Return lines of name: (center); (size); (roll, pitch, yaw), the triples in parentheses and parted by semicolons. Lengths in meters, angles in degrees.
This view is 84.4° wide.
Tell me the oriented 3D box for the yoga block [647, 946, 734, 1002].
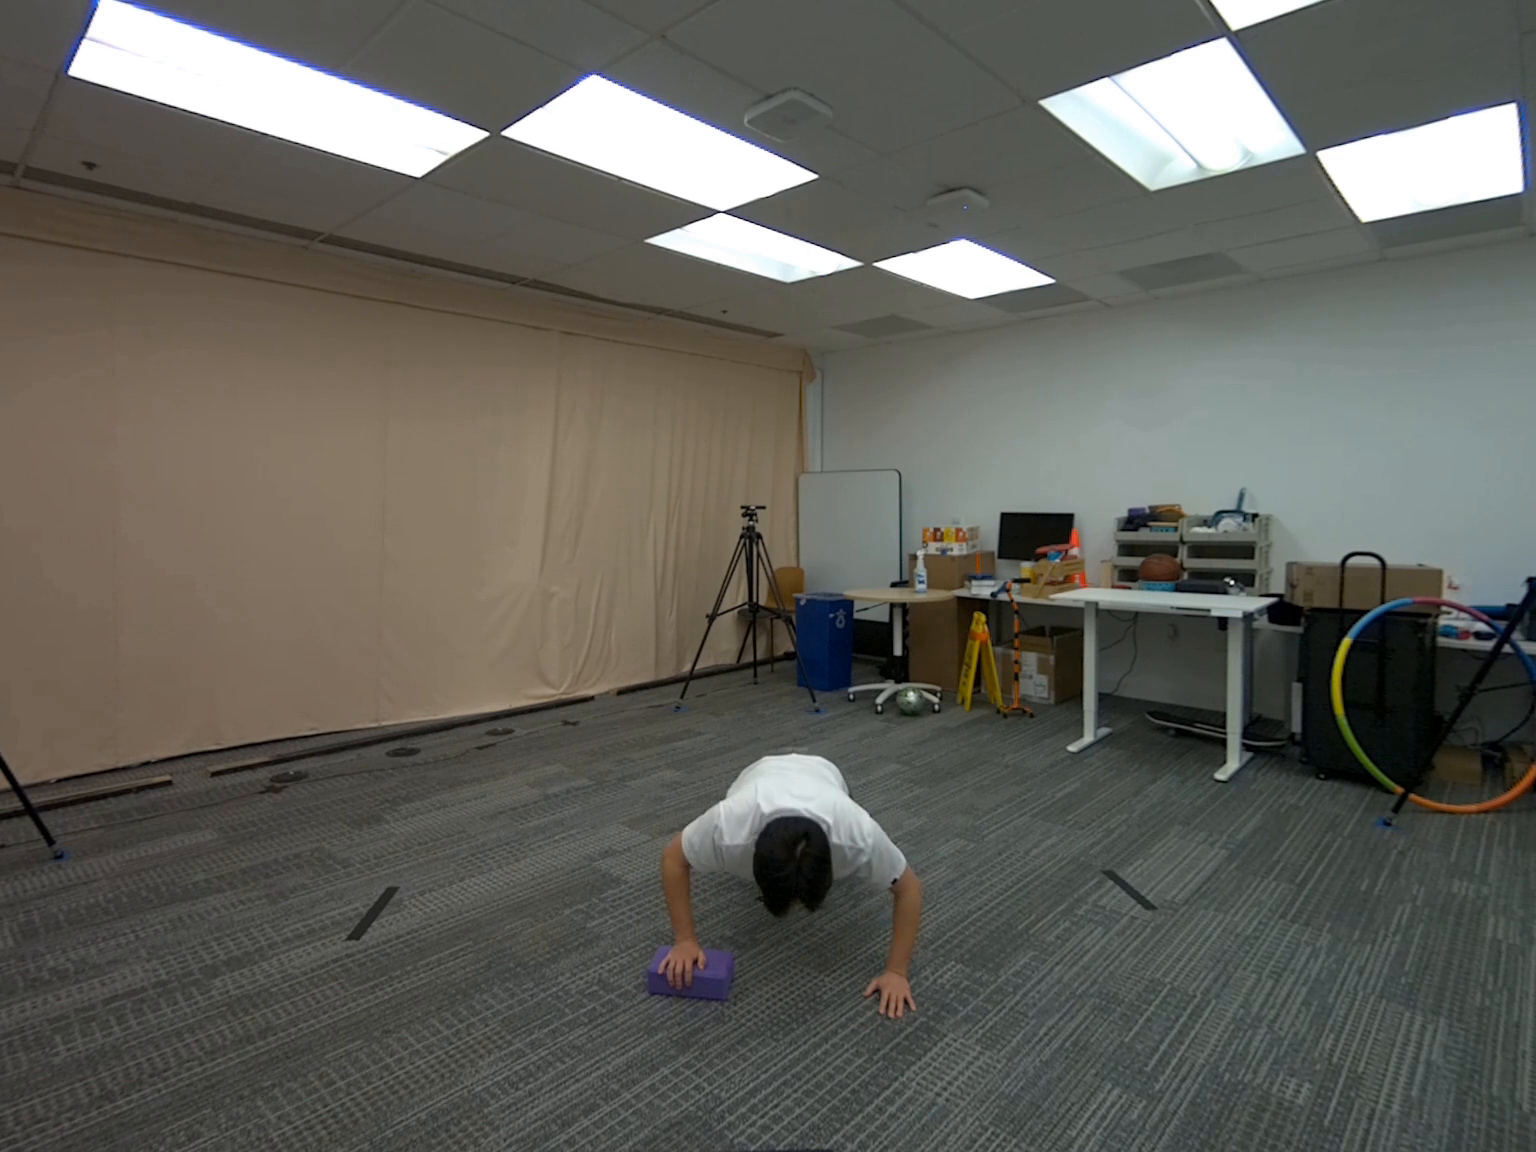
yoga block: (-0.218, 1.158, 2.444); (0.232, 0.076, 0.147); (2, 4, 12)
